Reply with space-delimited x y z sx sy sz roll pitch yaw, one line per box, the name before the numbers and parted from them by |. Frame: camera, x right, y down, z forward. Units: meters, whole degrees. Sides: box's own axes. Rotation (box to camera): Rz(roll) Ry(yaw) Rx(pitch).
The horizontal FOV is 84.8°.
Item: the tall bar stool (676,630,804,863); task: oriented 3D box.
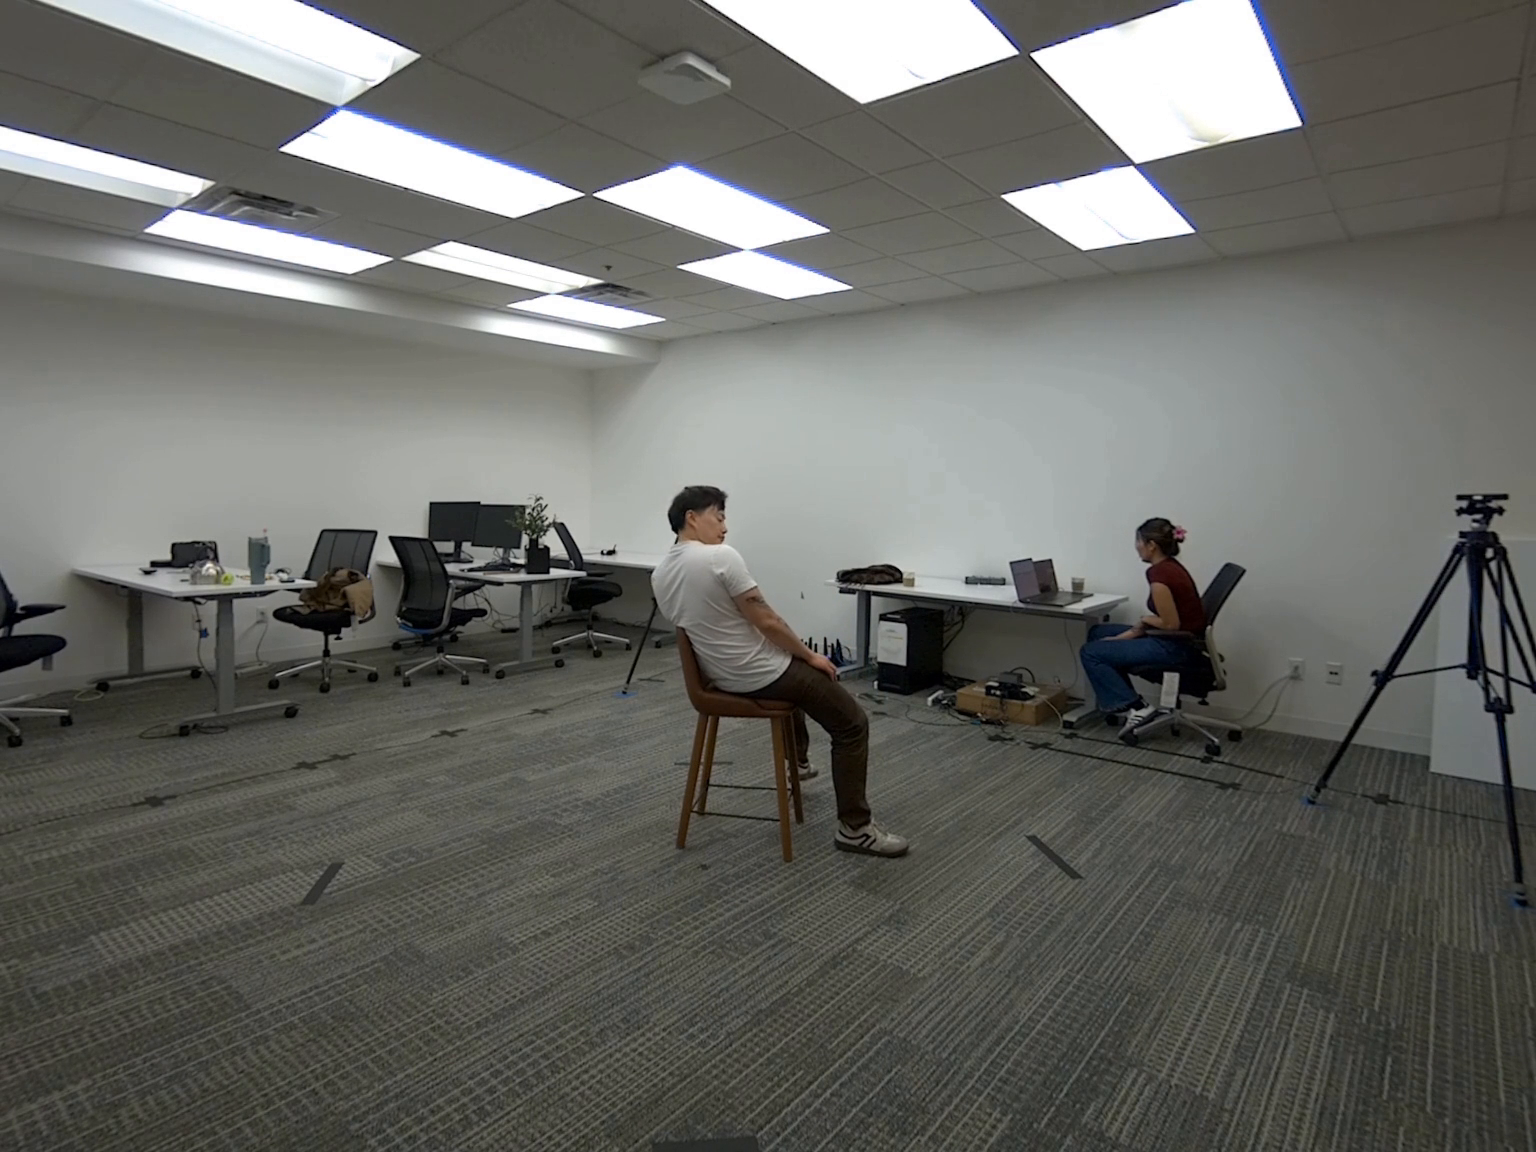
tall bar stool | -0.112 0.611 3.398 0.474 0.888 0.451 0 2 11
